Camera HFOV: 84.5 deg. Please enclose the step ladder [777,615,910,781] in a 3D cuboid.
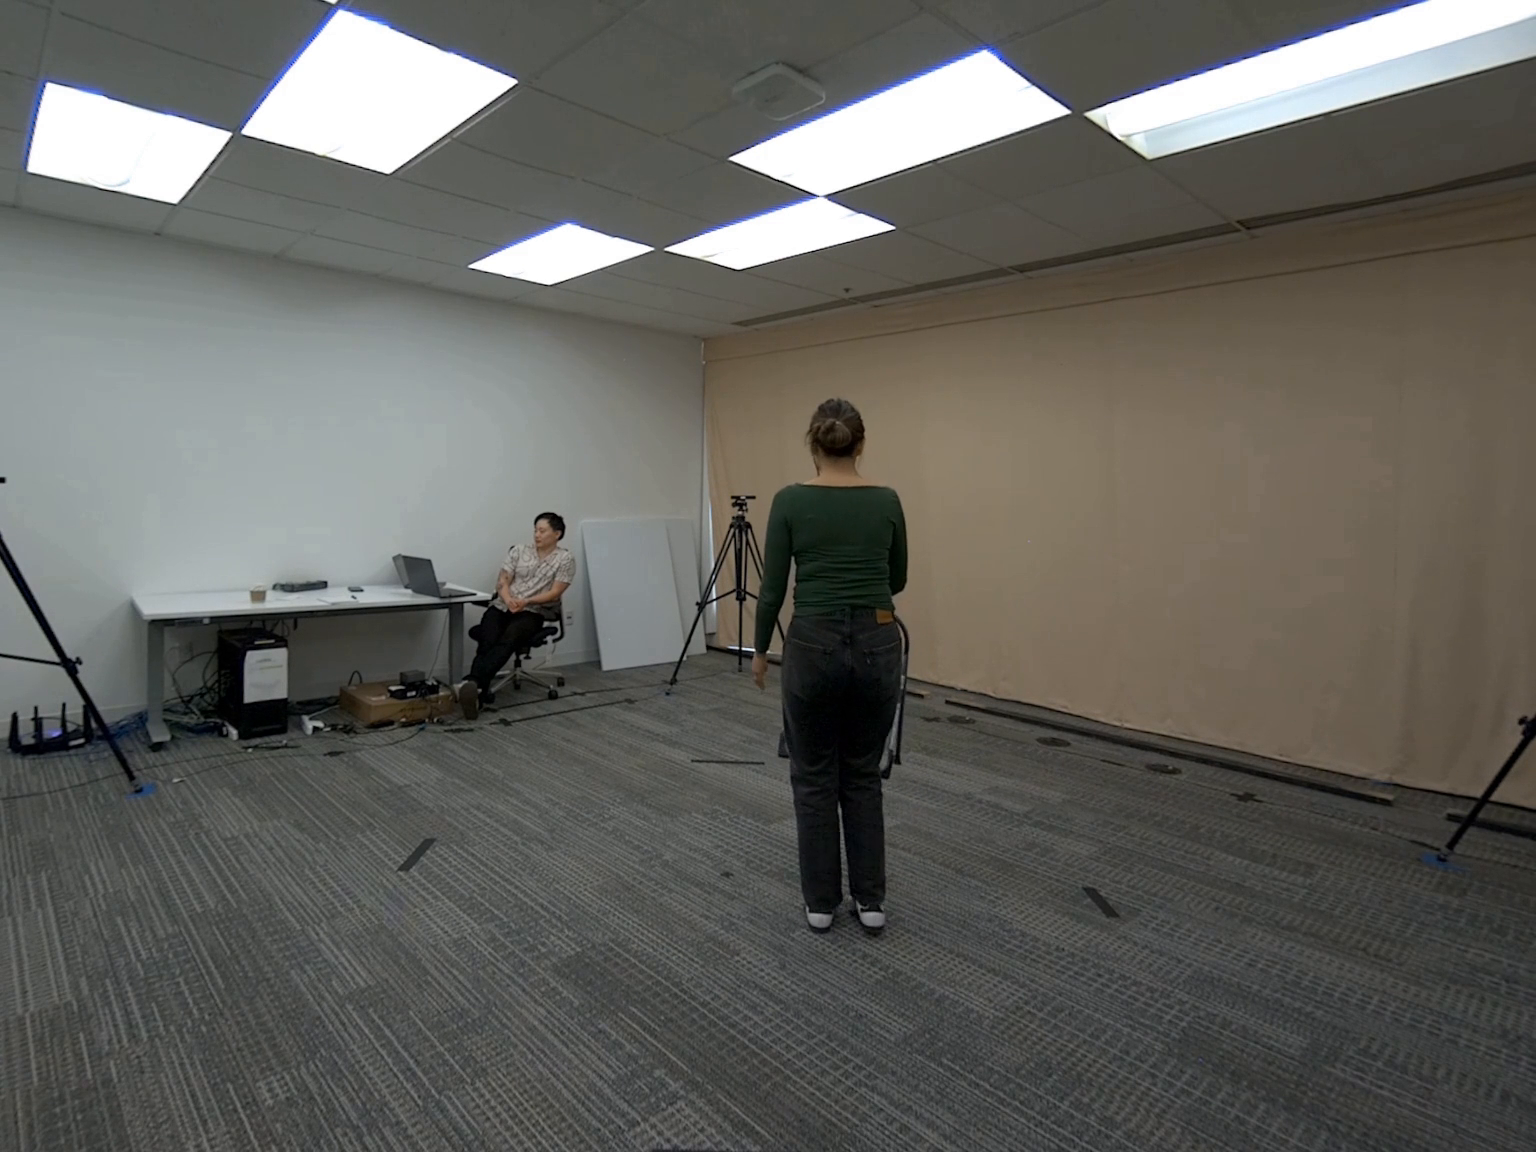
[{"bbox_3d":[0.314,0.412,3.208,0.437,0.606,0.344,7,-1,17],"label":"step ladder"}]
